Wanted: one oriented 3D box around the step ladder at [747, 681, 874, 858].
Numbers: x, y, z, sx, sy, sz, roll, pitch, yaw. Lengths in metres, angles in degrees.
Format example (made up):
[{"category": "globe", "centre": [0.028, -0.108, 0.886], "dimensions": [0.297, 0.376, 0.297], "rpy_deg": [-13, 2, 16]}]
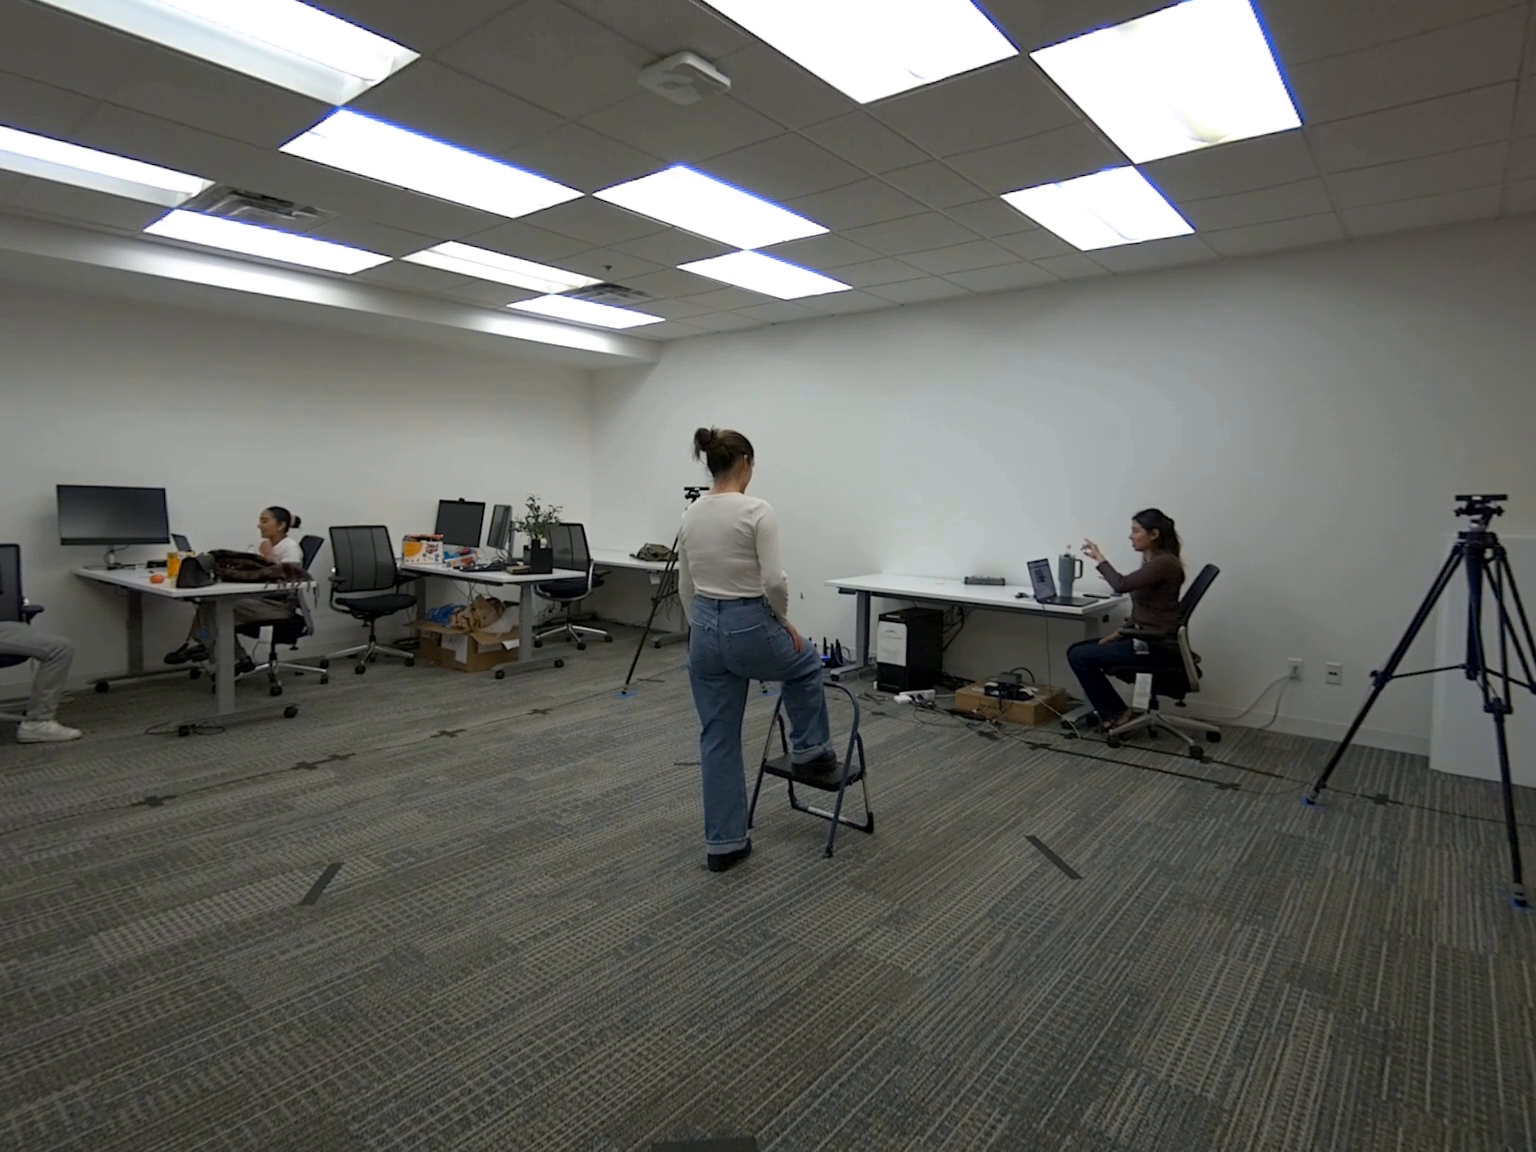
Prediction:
[{"category": "step ladder", "centre": [0.169, 0.733, 3.465], "dimensions": [0.445, 0.604, 0.339], "rpy_deg": [5, 5, 39]}]
